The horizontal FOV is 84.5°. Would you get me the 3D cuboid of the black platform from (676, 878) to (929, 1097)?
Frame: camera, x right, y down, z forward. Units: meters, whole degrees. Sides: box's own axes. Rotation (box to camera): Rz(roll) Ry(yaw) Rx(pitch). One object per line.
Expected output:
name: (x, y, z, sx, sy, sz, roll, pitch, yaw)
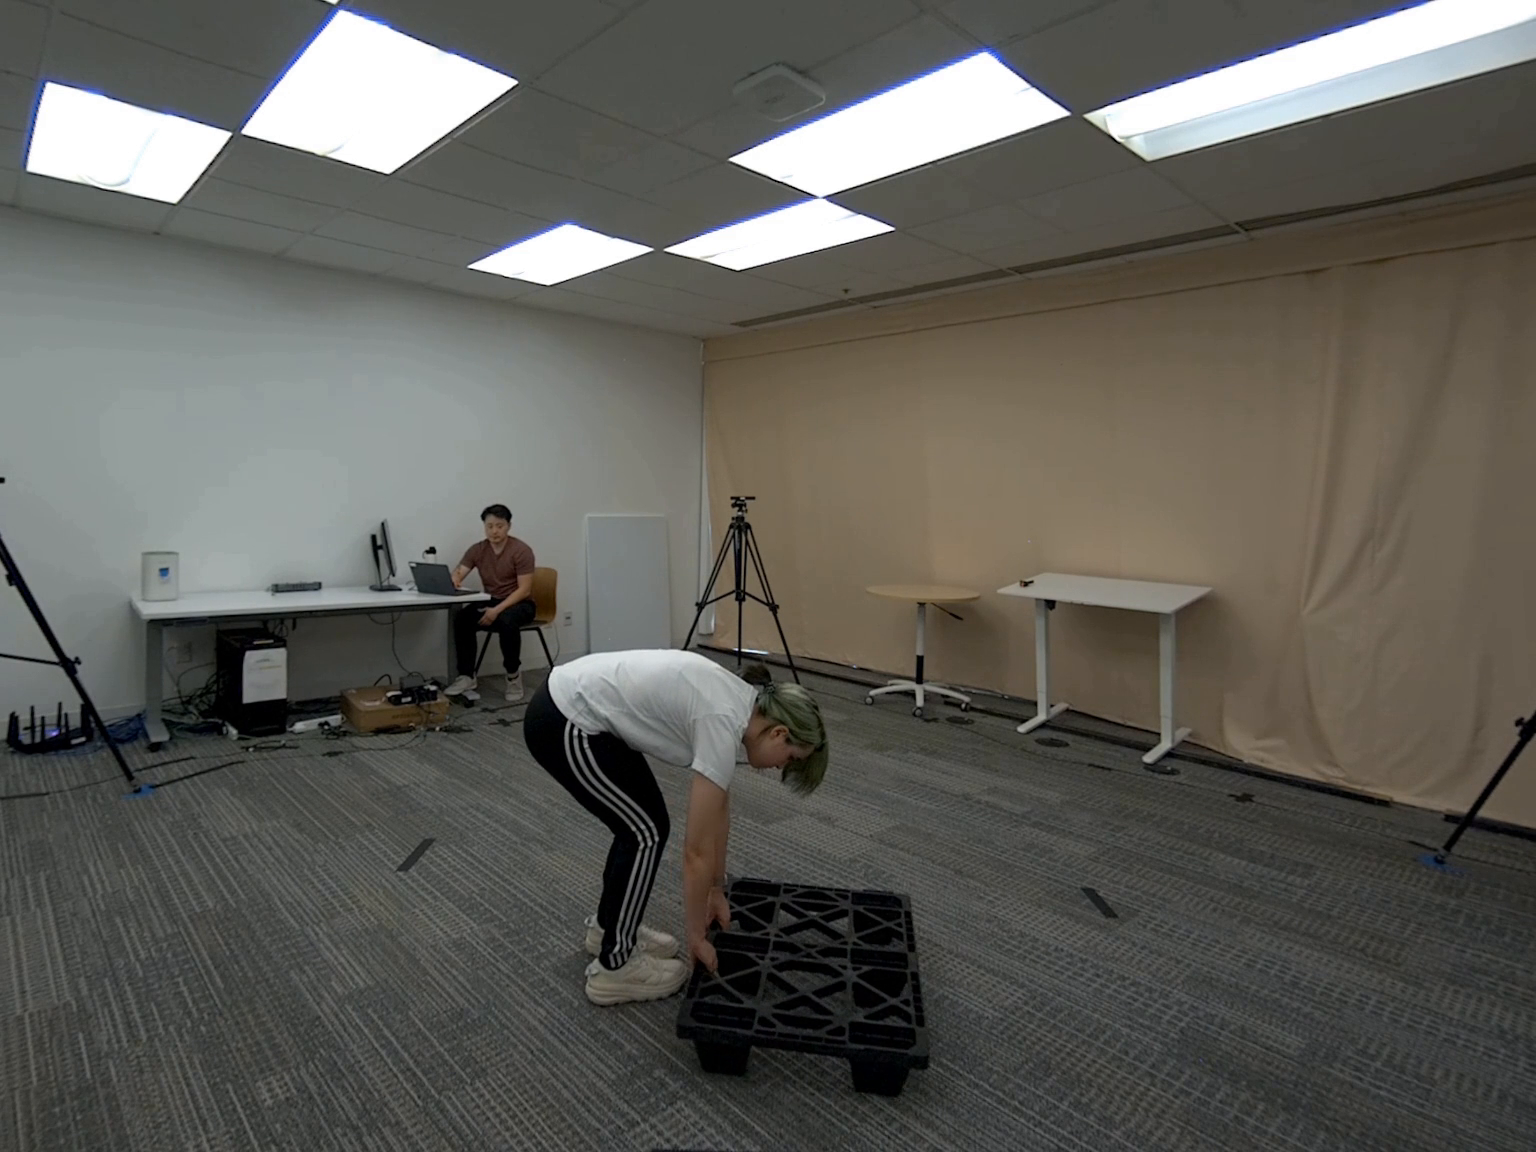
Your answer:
black platform: (0.115, 1.110, 2.362, 0.609, 0.143, 0.802, 3, 6, 7)
